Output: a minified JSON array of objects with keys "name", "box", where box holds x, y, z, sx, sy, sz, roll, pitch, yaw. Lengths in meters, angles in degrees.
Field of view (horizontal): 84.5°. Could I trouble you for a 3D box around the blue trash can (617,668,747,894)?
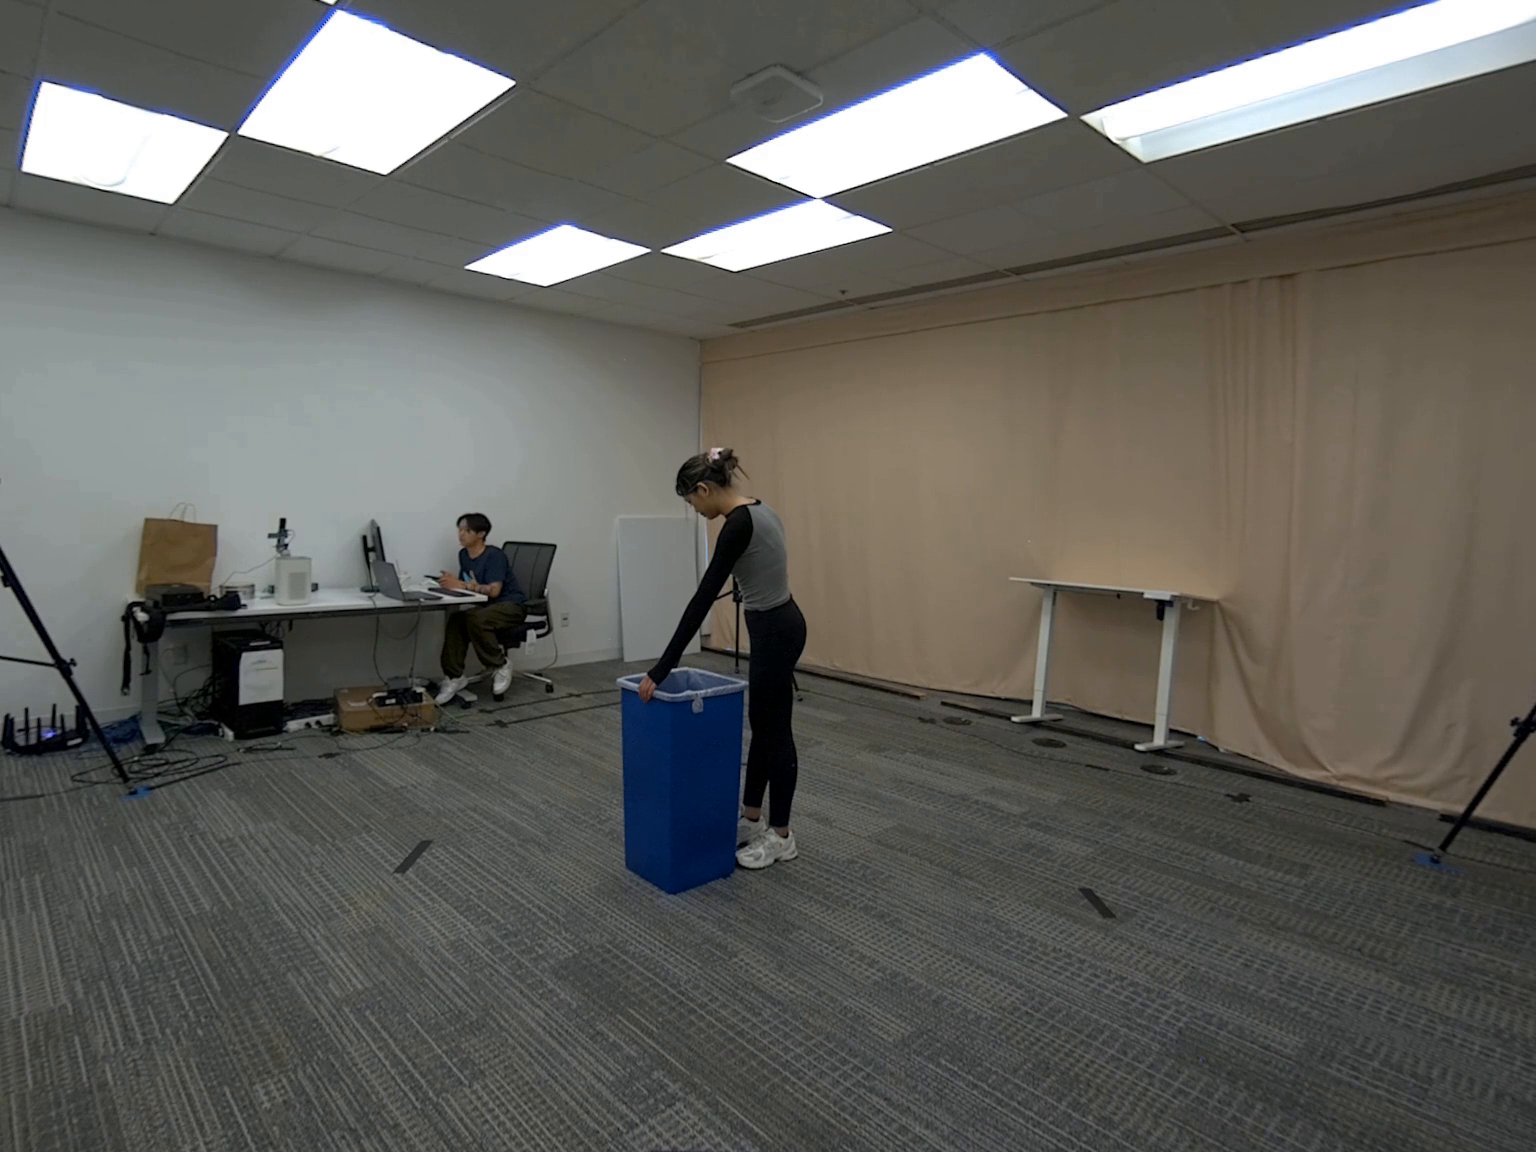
[{"name":"blue trash can","box":[-0.337,0.743,3.133,0.369,0.712,0.383,-2,5,-42]}]
